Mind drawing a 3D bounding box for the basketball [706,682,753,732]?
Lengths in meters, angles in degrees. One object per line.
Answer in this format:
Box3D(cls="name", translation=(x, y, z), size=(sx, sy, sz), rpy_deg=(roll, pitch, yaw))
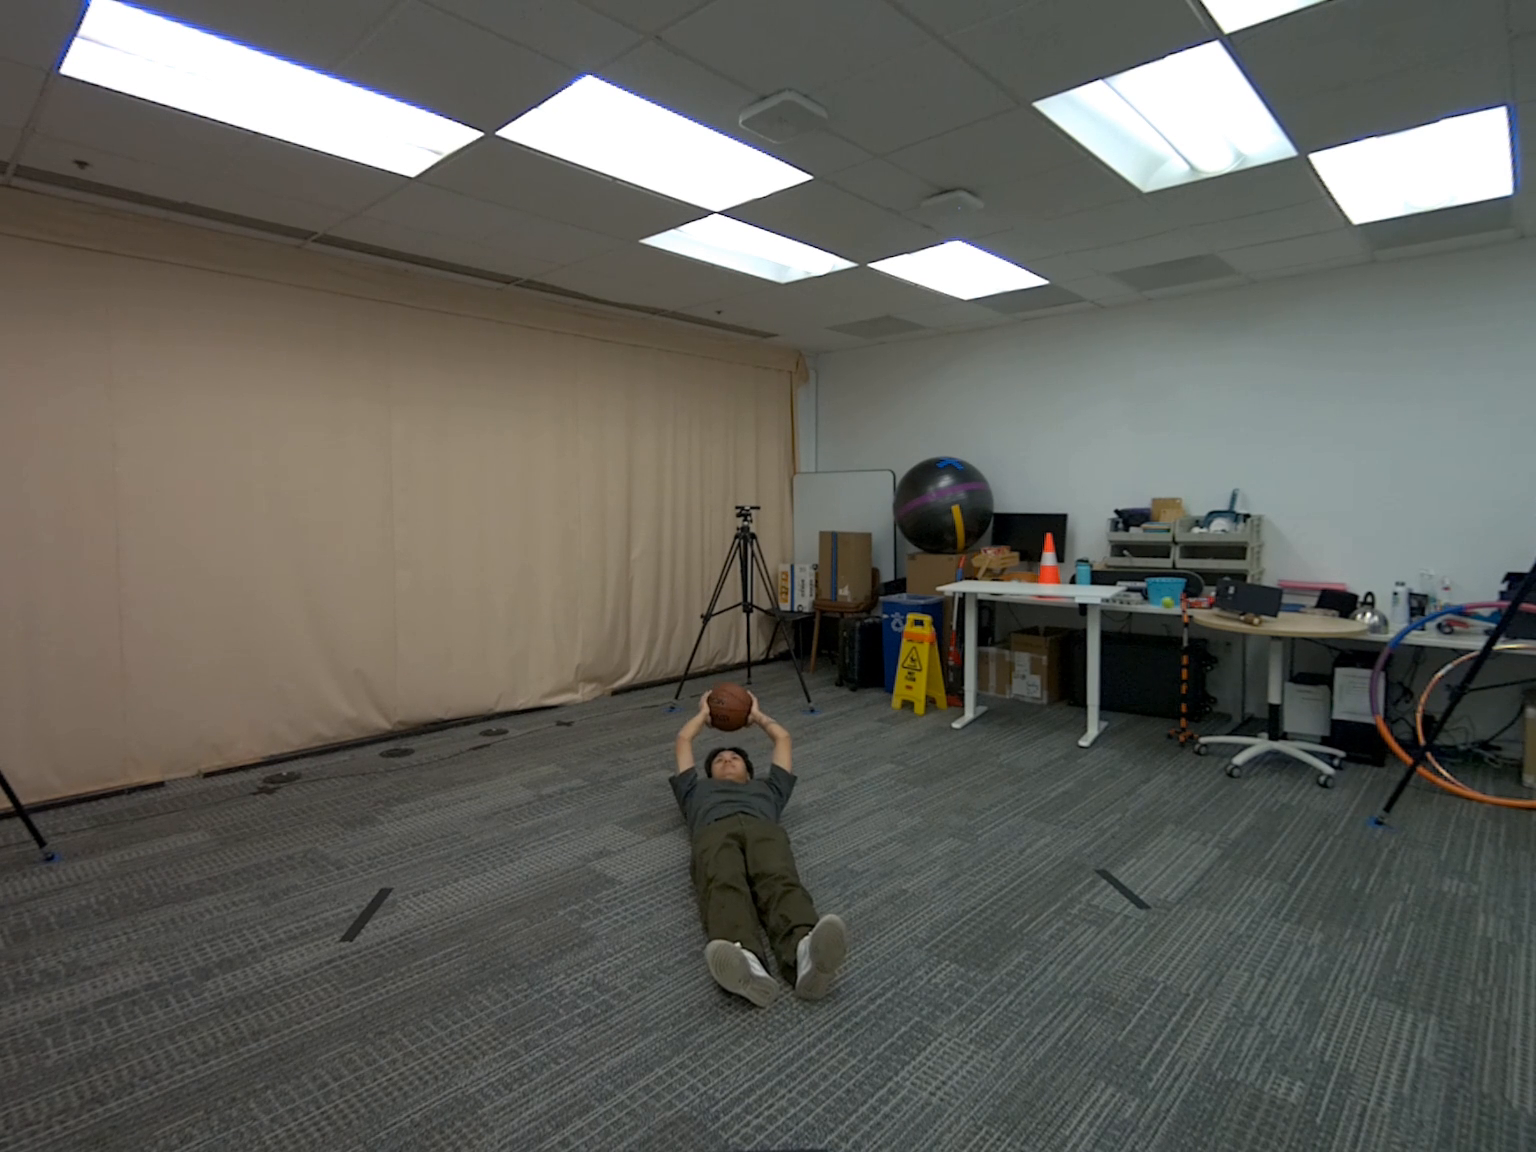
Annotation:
Box3D(cls="basketball", translation=(-0.191, 0.634, 4.077), size=(0.236, 0.235, 0.237), rpy_deg=(0, 4, -2))
